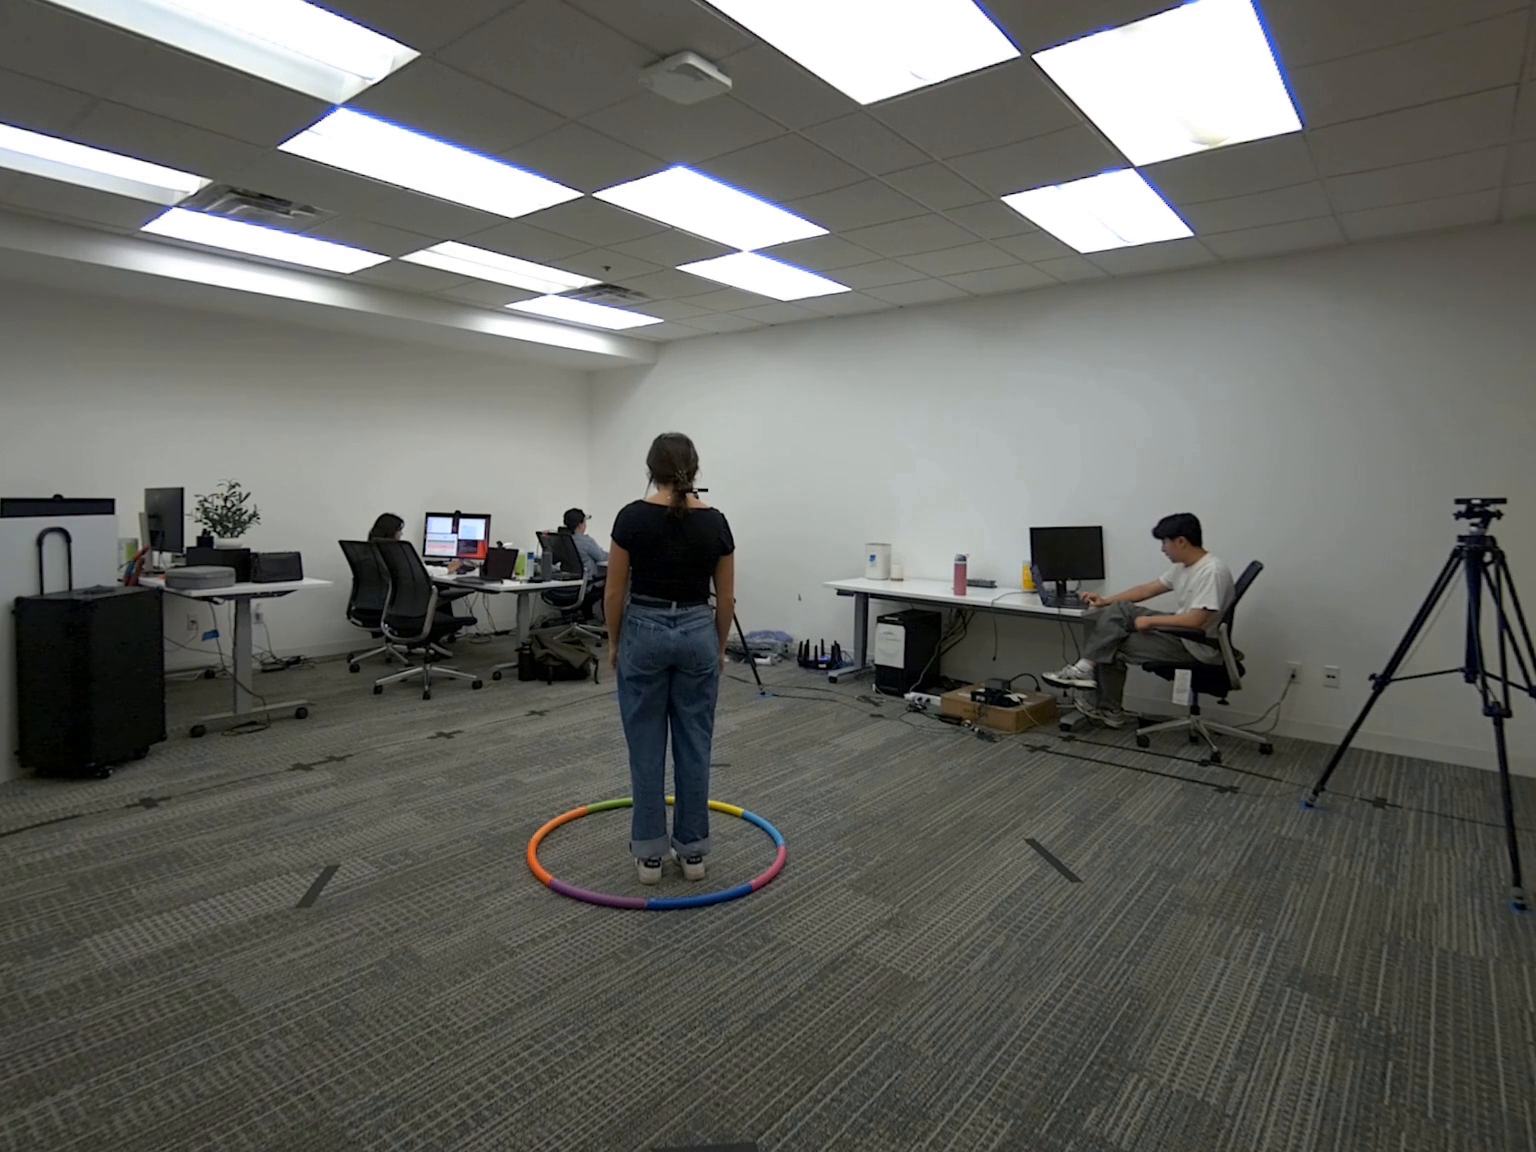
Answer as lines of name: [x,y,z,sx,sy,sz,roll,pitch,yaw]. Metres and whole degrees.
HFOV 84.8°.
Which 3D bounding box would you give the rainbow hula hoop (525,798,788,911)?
rainbow hula hoop: [-0.423,1.017,3.274,0.978,0.035,0.984,1,6,-2]
